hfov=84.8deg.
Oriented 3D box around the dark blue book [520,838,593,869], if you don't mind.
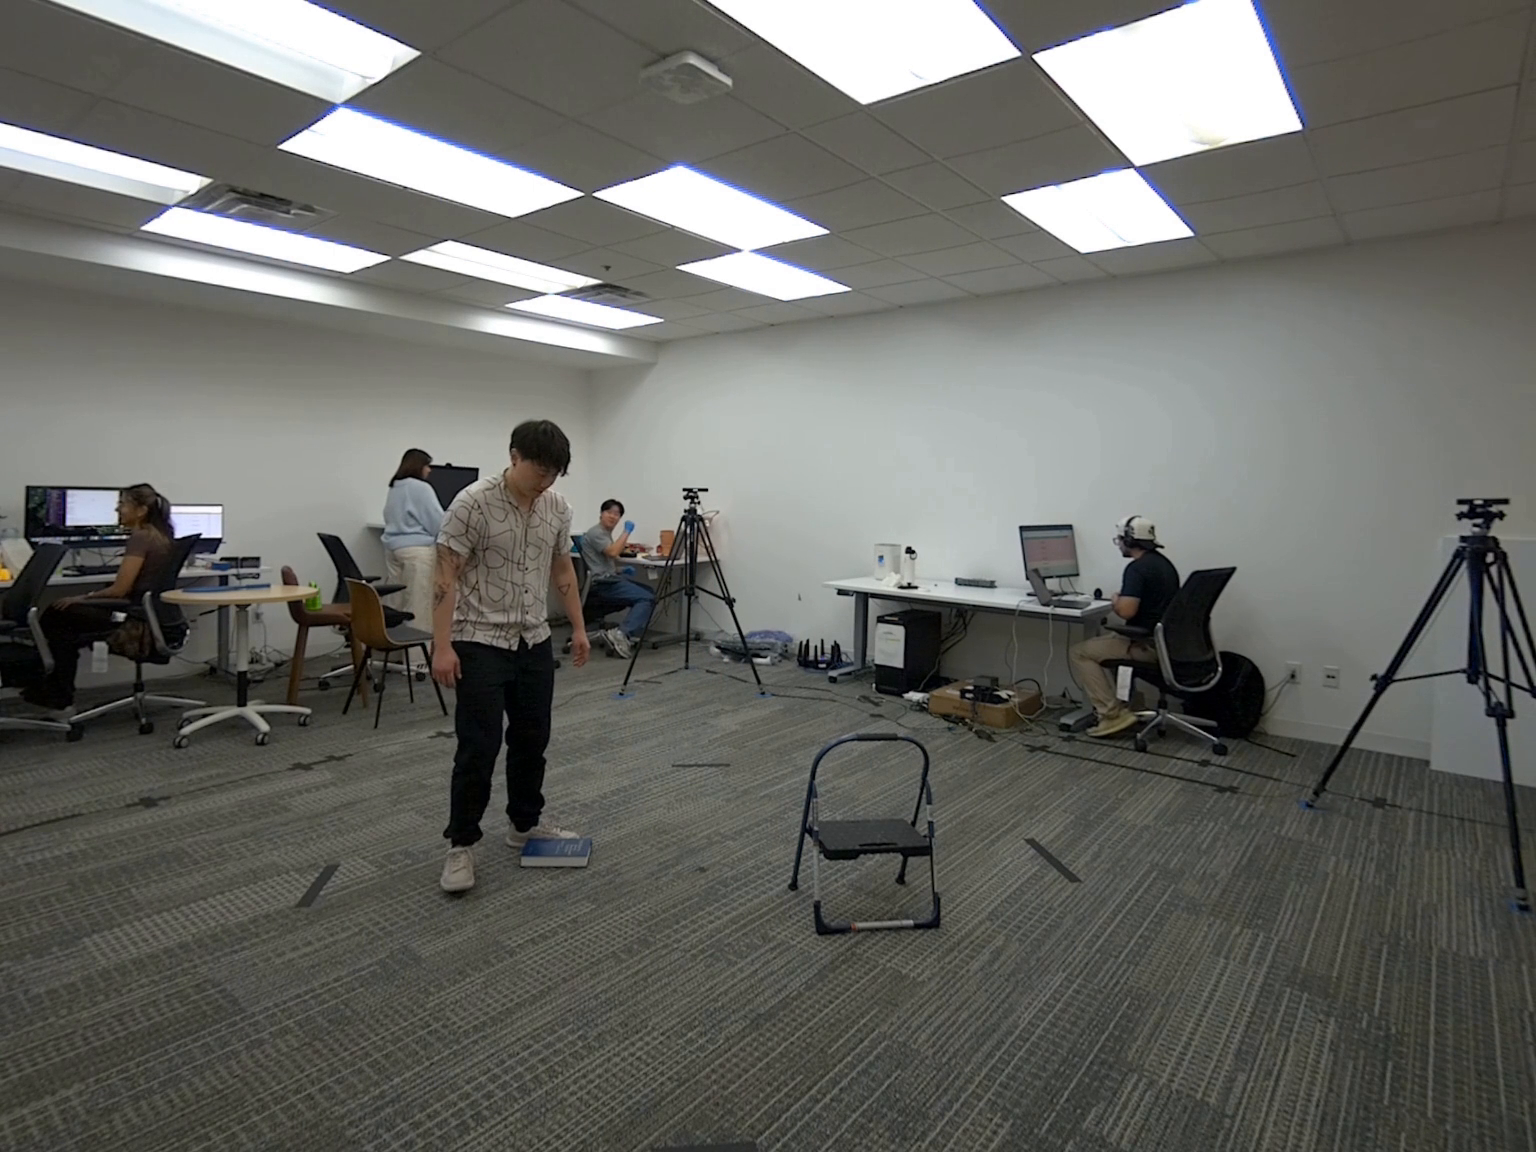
[{"bbox_3d":[-0.796,1.031,3.175,0.244,0.045,0.165,0,6,-4],"label":"dark blue book"}]
